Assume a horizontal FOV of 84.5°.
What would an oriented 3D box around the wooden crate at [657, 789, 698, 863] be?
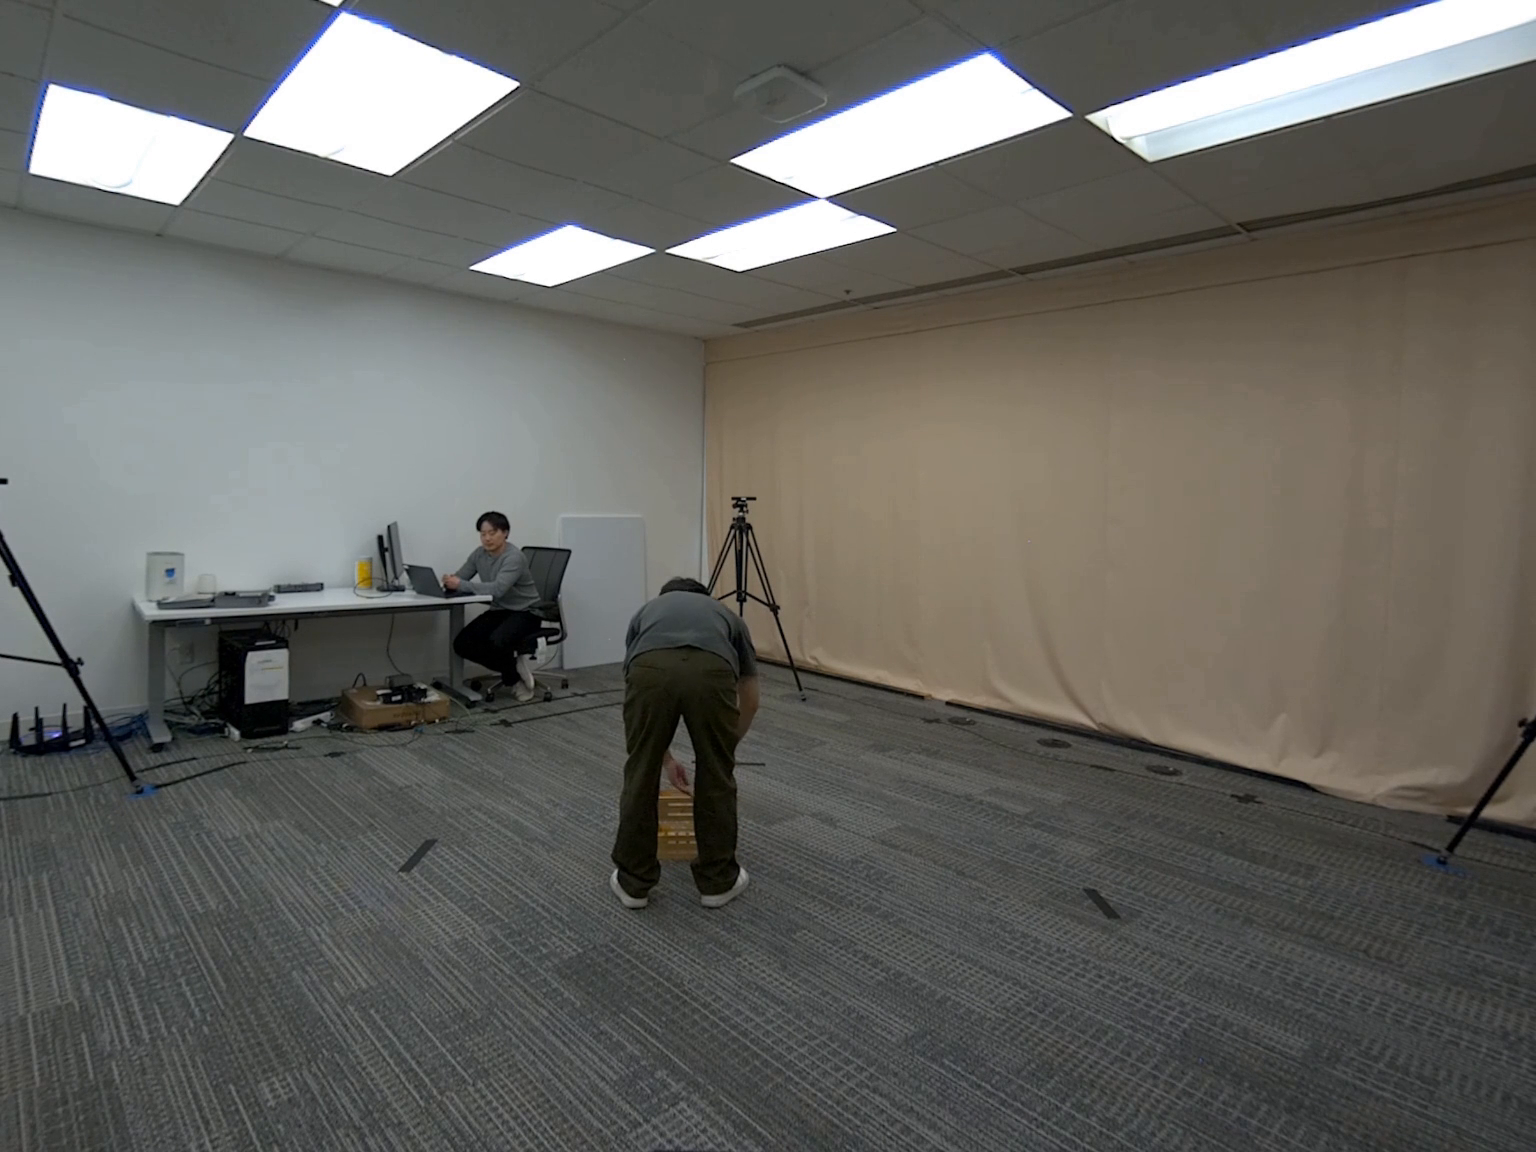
[{"bbox_3d":[-0.298,0.953,3.338,0.323,0.273,0.304,2,3,-5],"label":"wooden crate"}]
